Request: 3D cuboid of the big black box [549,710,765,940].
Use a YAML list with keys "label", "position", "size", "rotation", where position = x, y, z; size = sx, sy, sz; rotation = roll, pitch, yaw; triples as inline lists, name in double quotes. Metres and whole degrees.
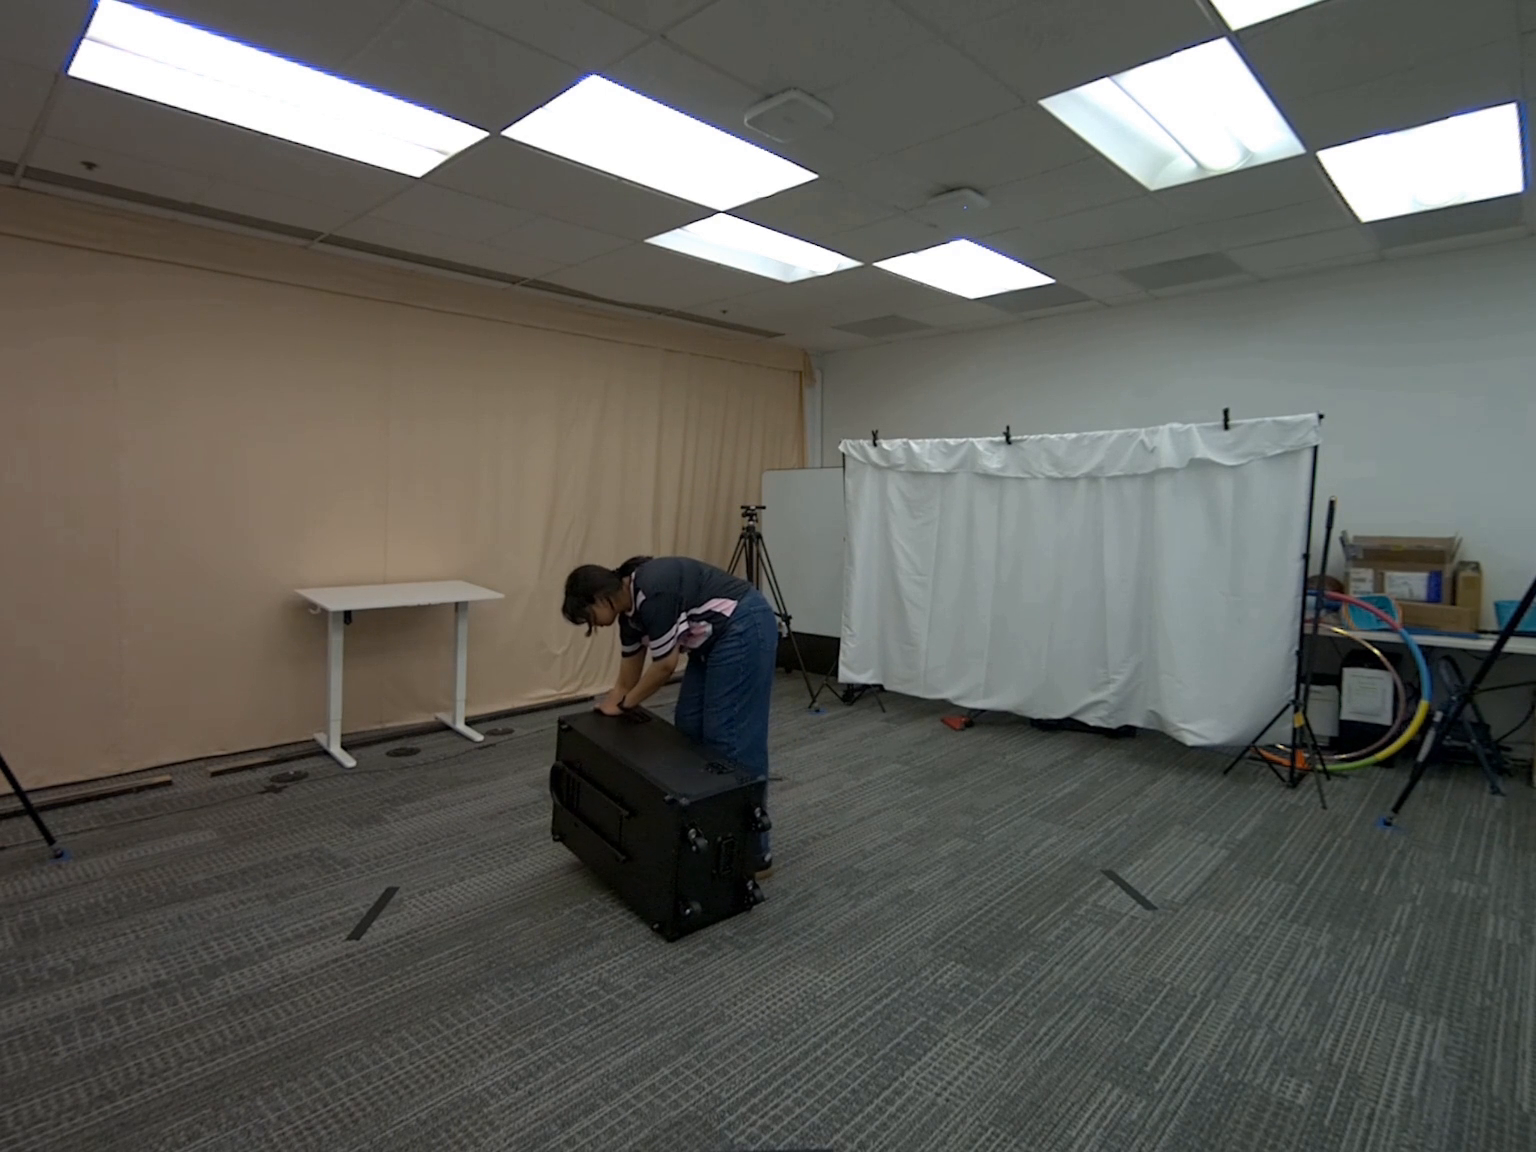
- label: "big black box"
  position: [-0.399, 0.838, 3.004]
  size: [0.373, 0.521, 0.900]
  rotation: [-1, 13, -43]
